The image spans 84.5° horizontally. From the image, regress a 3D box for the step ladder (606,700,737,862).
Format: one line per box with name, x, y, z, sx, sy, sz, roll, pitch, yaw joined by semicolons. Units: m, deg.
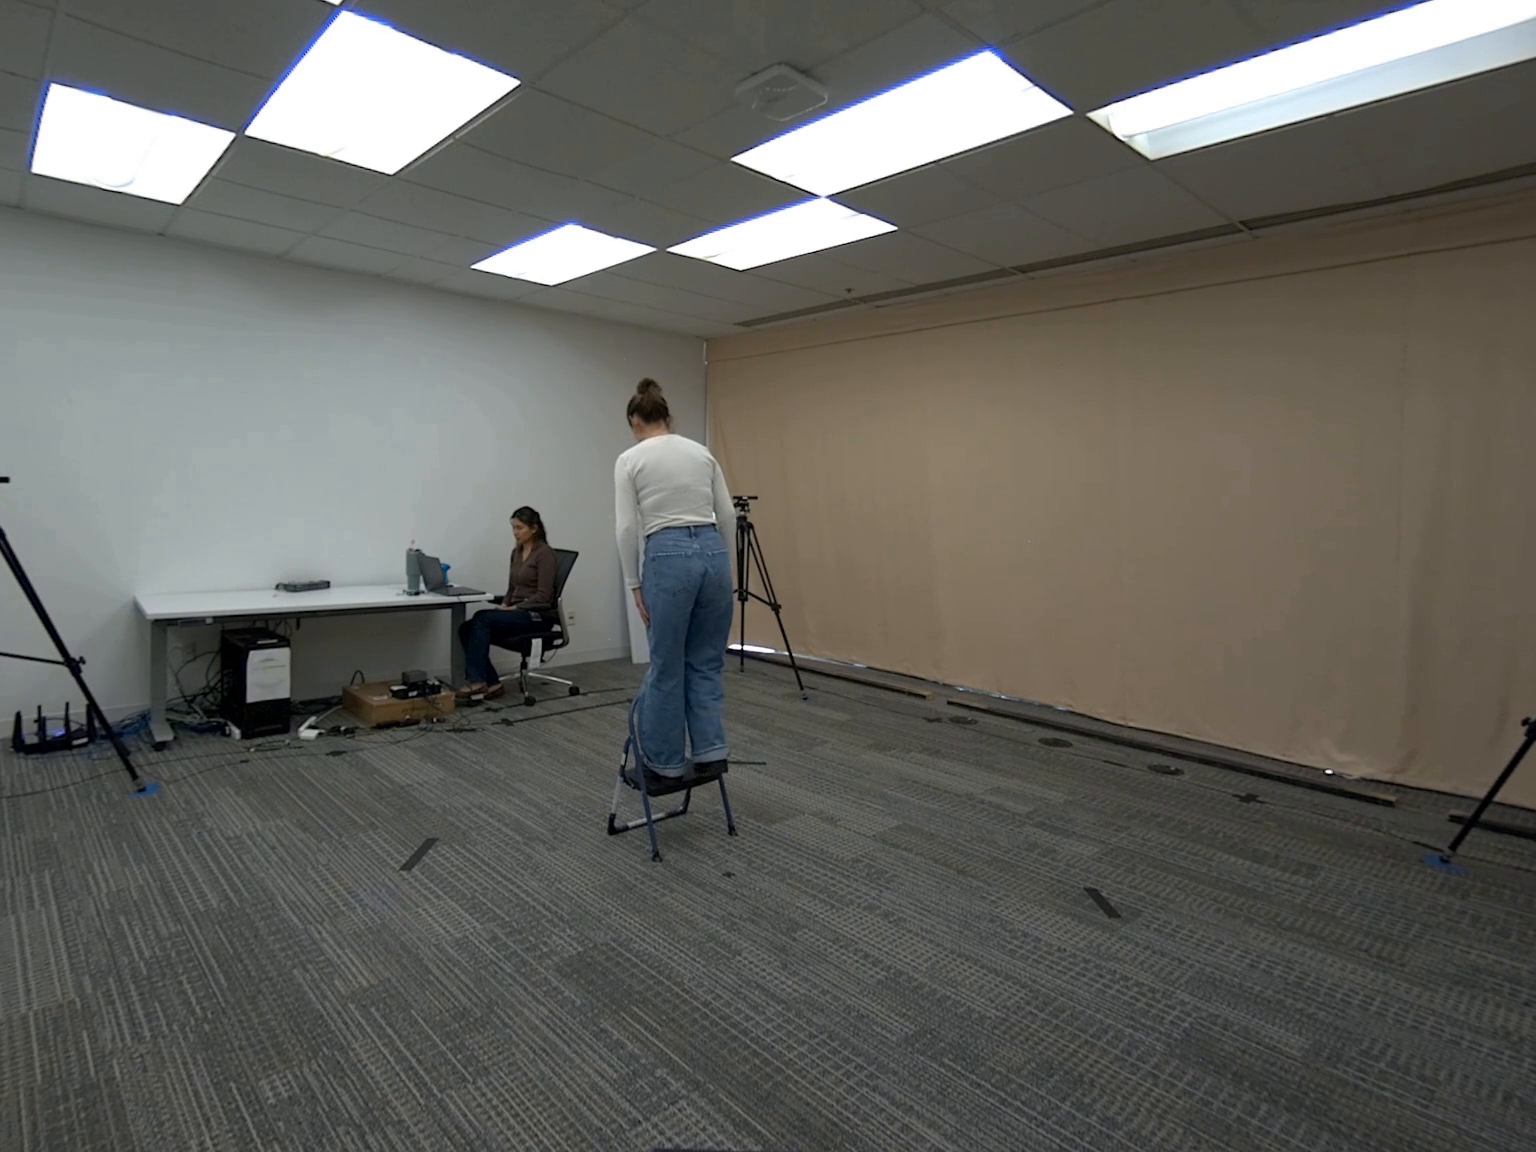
step ladder;-0.390;0.765;3.450;0.420;0.604;0.358;-1;5;-45
